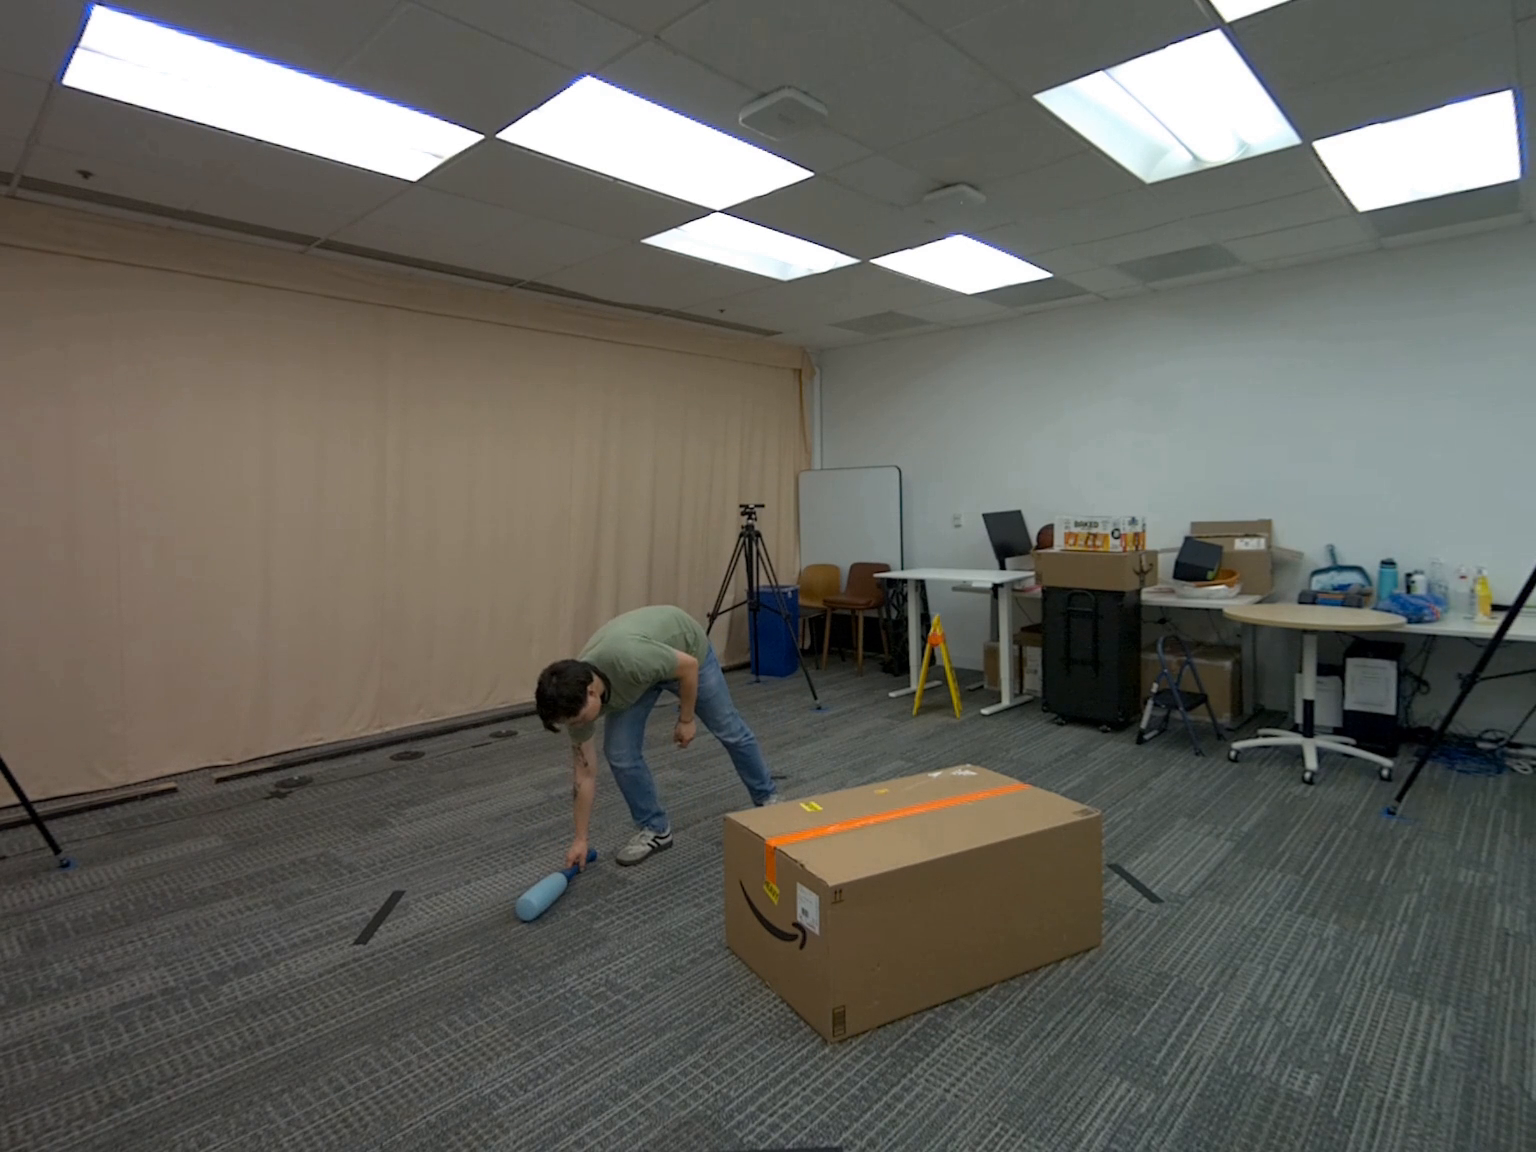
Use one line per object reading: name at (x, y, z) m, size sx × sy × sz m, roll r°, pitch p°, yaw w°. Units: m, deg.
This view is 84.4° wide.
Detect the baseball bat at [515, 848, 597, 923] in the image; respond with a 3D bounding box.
baseball bat at (-0.750, 1.108, 3.077) m, size 0.090 × 0.089 × 0.535 m, roll 0°, pitch 2°, yaw 12°
